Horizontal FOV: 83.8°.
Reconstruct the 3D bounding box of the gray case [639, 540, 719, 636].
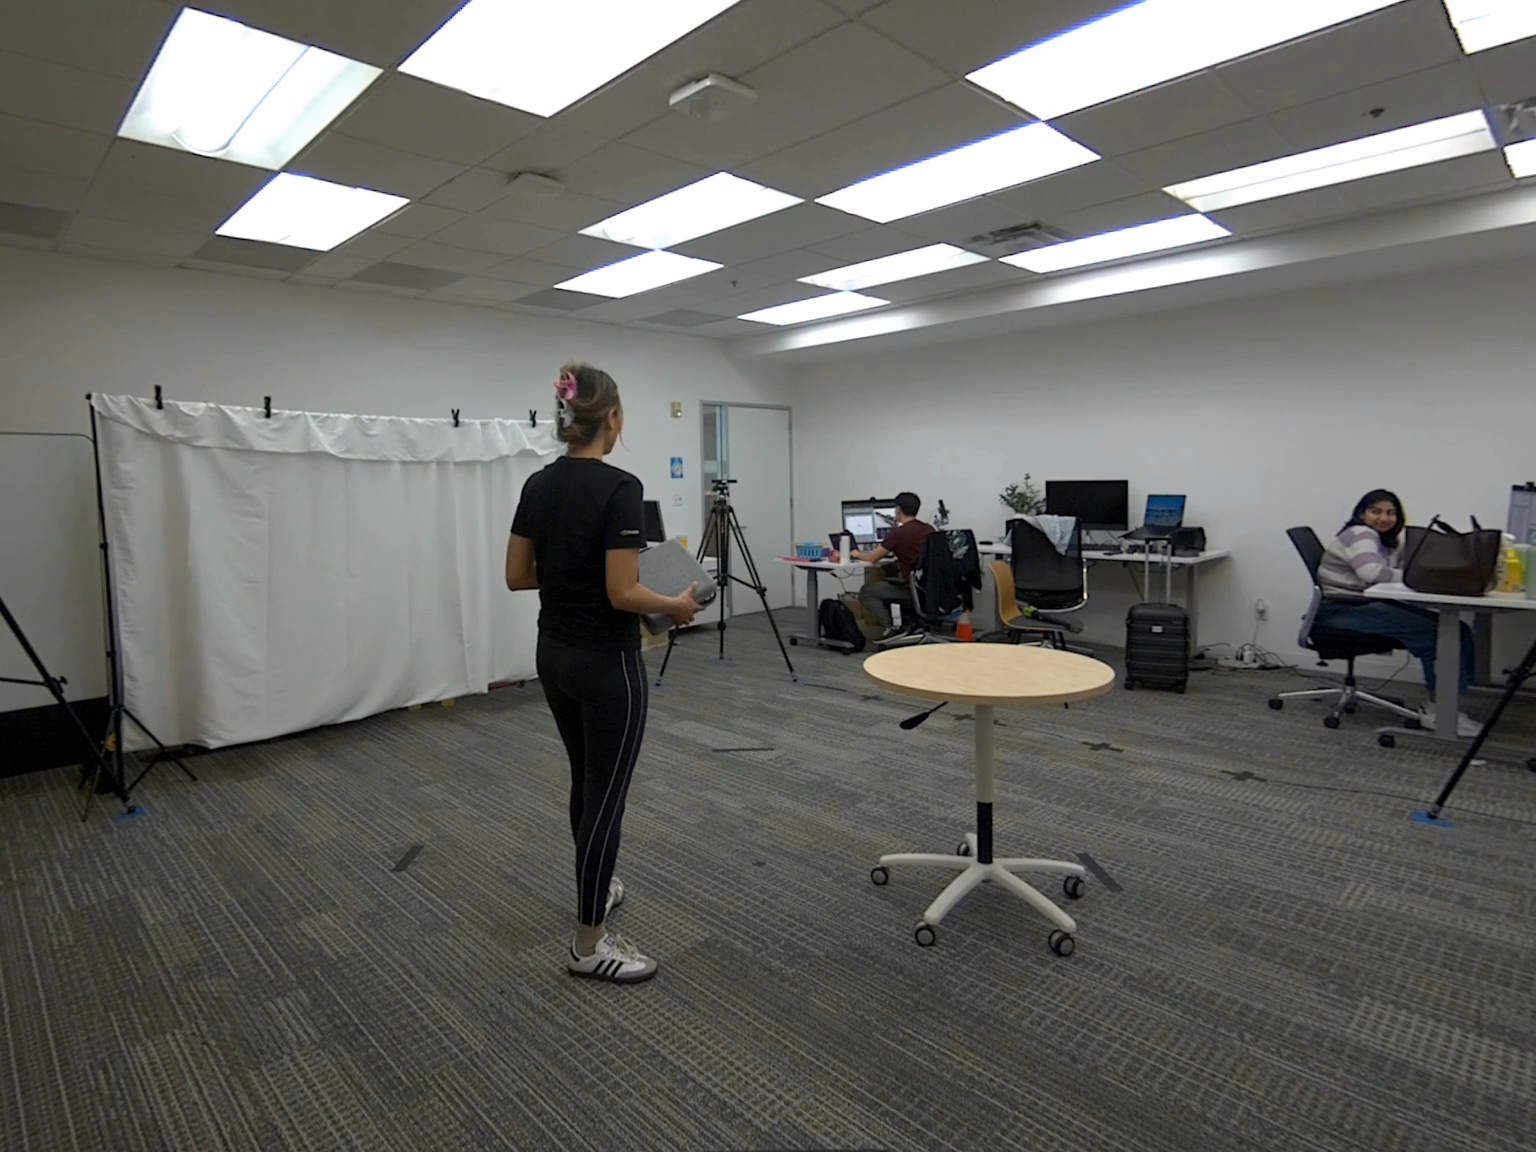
[{"bbox_3d":[-0.329,0.027,2.672,0.255,0.269,0.102,-31,-27,-16],"label":"gray case"}]
